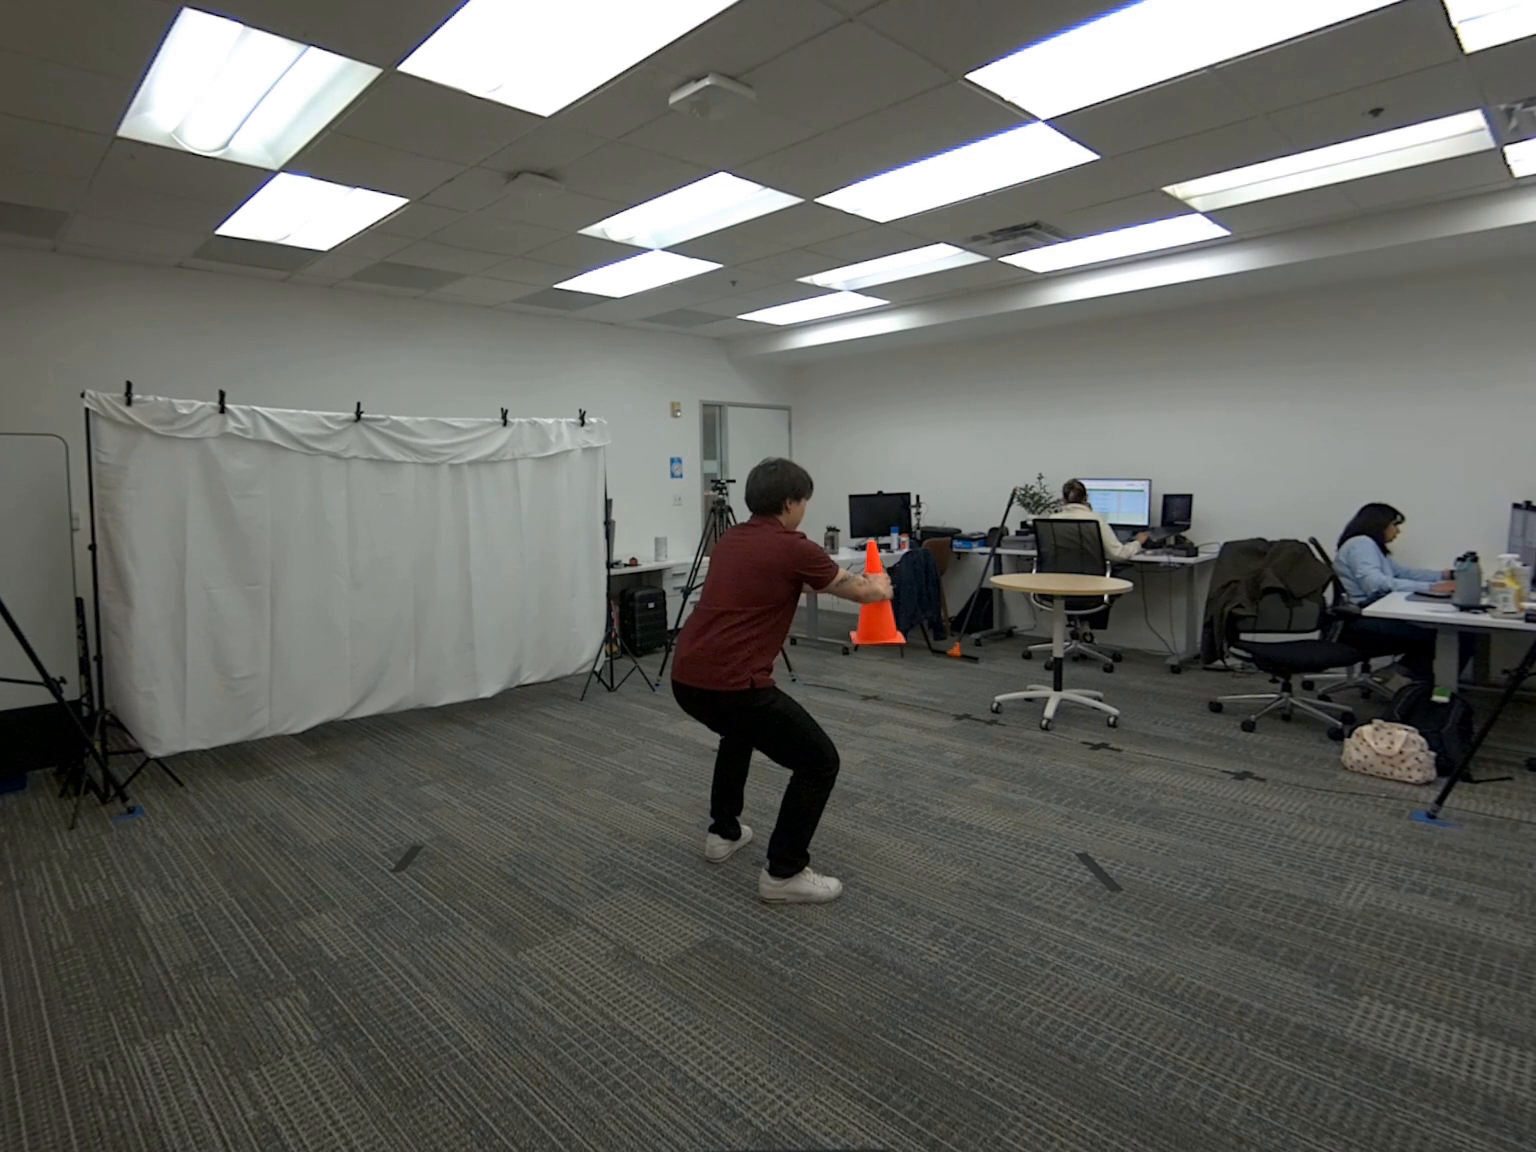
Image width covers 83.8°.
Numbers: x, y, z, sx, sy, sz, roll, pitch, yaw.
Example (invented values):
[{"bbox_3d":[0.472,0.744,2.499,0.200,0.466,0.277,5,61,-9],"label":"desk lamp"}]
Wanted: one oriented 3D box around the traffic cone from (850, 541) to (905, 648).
[{"bbox_3d":[0.420,0.057,3.314,0.206,0.381,0.204,-2,8,3],"label":"traffic cone"}]
